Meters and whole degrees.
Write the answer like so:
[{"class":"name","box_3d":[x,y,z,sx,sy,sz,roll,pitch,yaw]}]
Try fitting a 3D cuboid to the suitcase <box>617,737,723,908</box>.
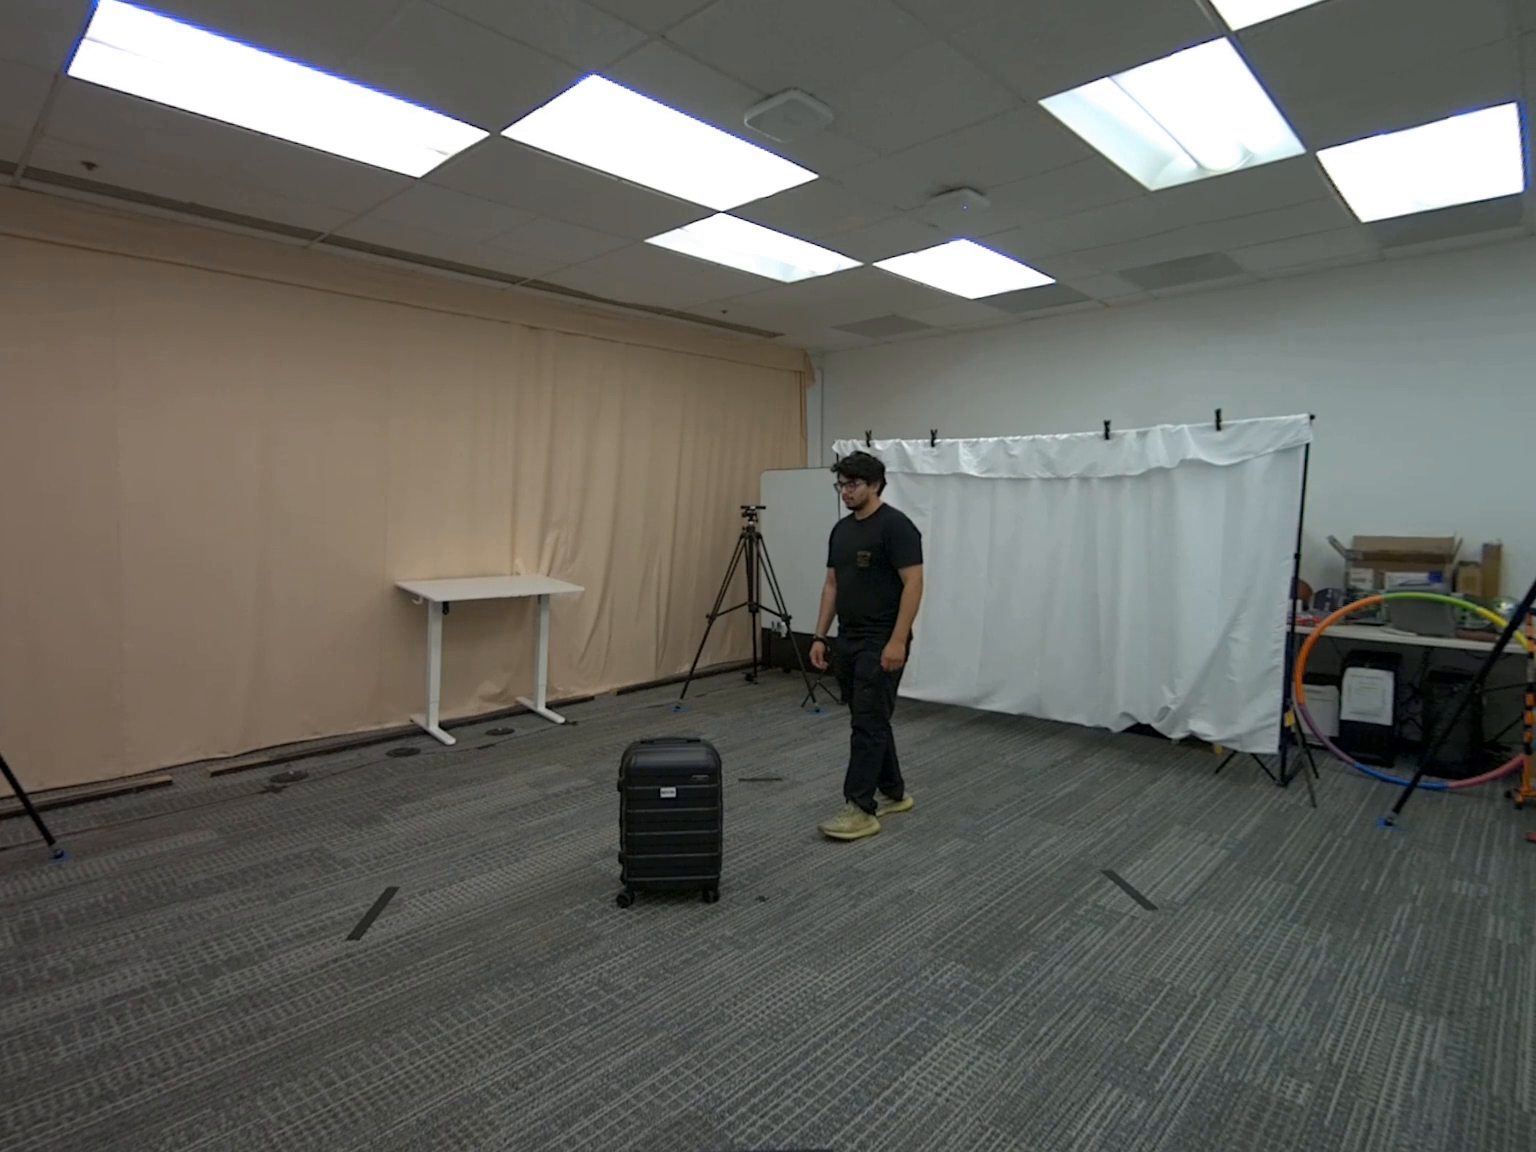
[{"class":"suitcase","box_3d":[-0.348,0.866,3.027,0.373,0.548,0.250,0,3,-5]}]
